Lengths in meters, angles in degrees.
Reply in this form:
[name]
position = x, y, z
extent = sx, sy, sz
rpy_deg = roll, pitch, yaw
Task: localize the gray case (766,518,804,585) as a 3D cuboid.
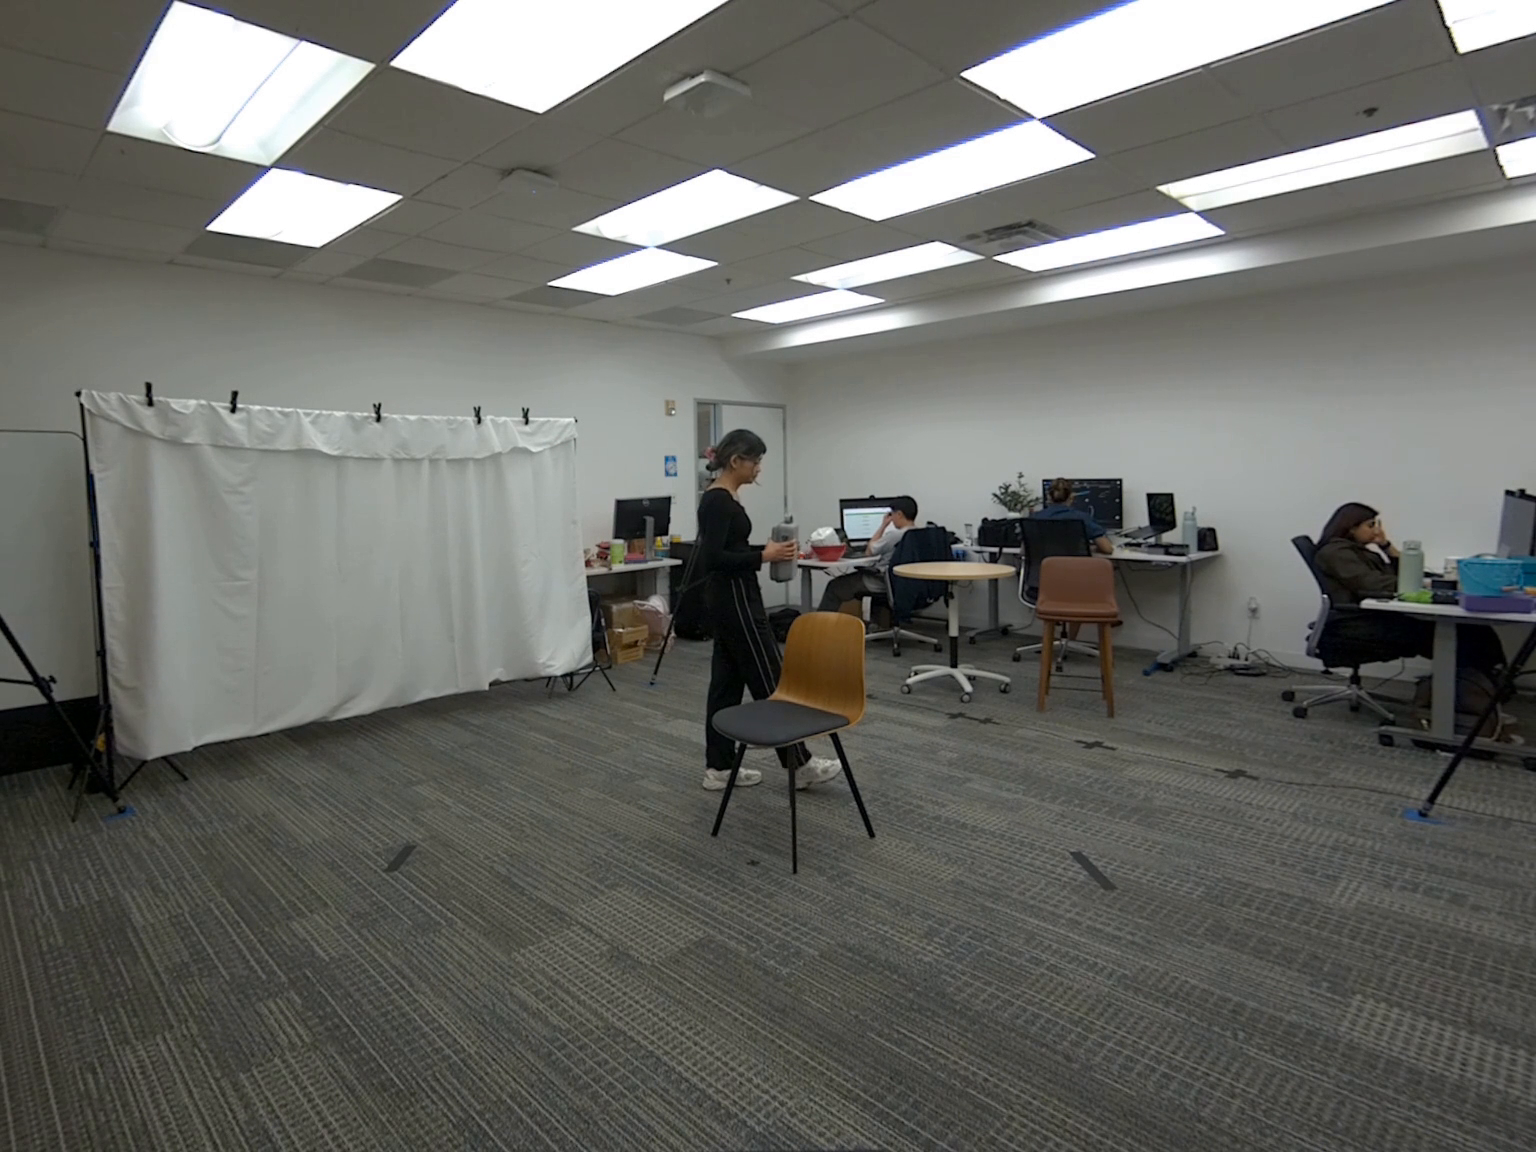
[gray case]
position = 0.077, -0.116, 3.831
extent = 0.105, 0.259, 0.255
rpy_deg = 7, 7, 9
